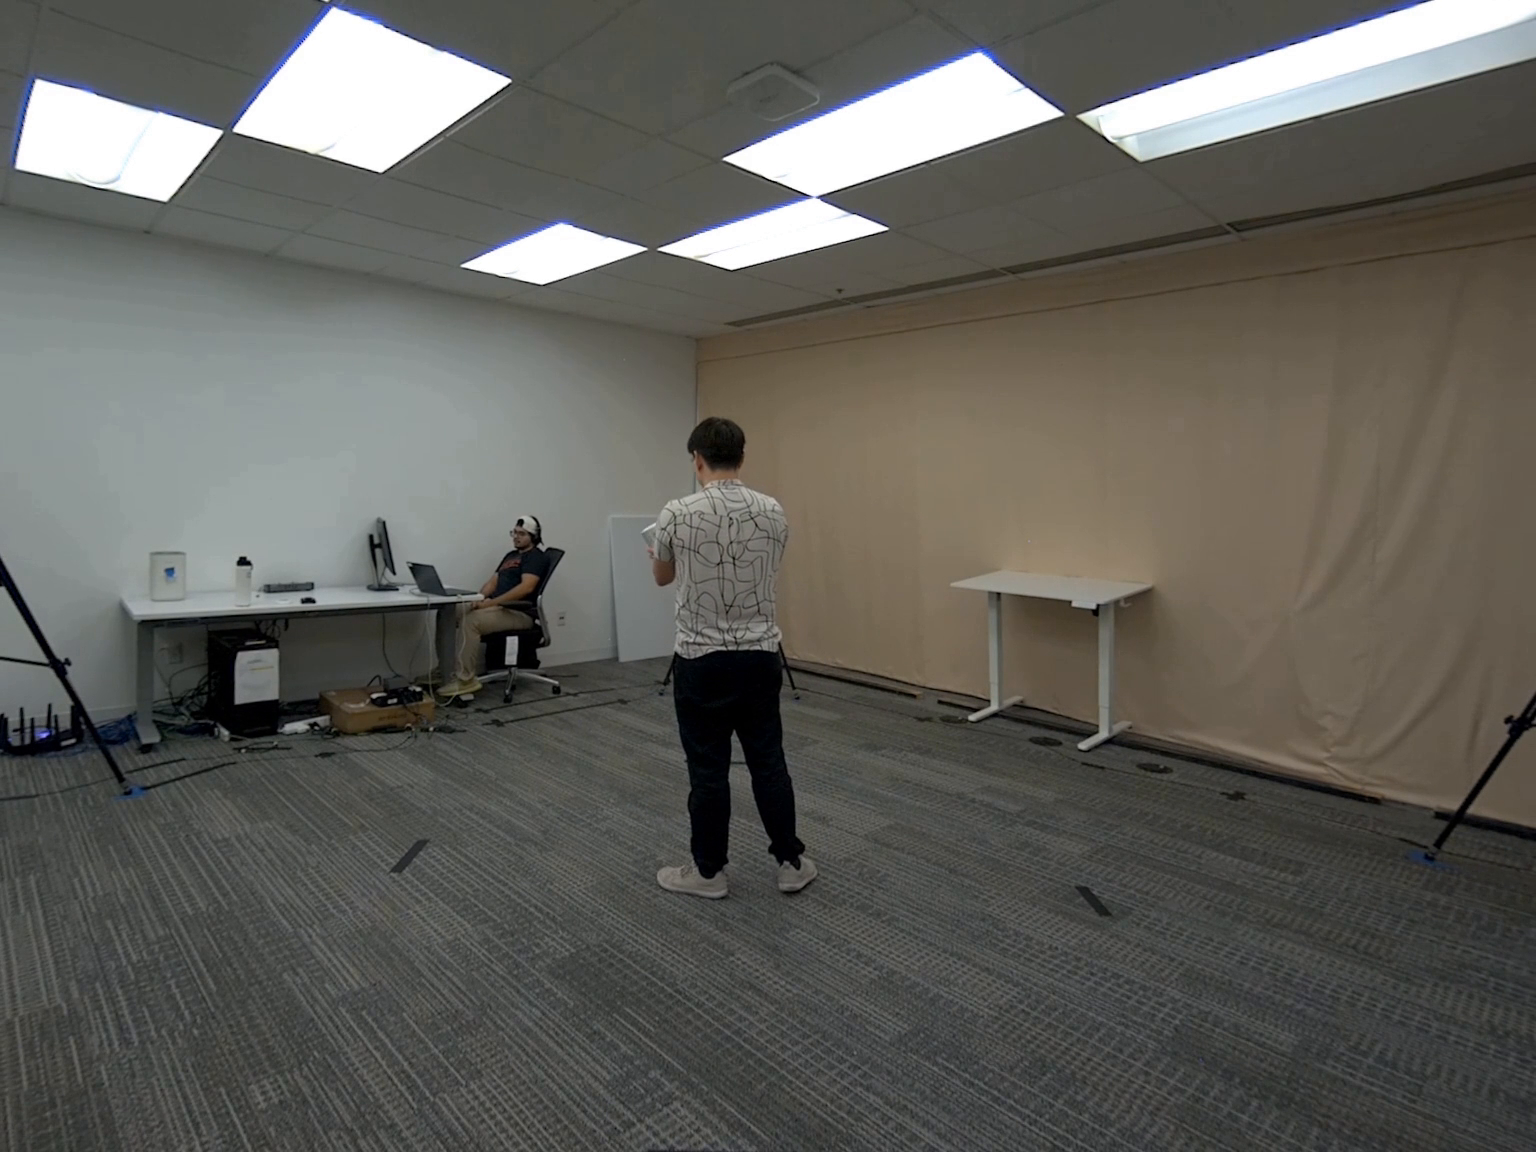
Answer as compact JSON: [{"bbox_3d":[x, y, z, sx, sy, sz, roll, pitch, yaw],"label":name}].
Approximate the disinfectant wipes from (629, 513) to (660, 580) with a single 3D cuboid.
[{"bbox_3d":[-0.447,-0.120,3.373,0.118,0.216,0.118,-24,8,3],"label":"disinfectant wipes"}]
